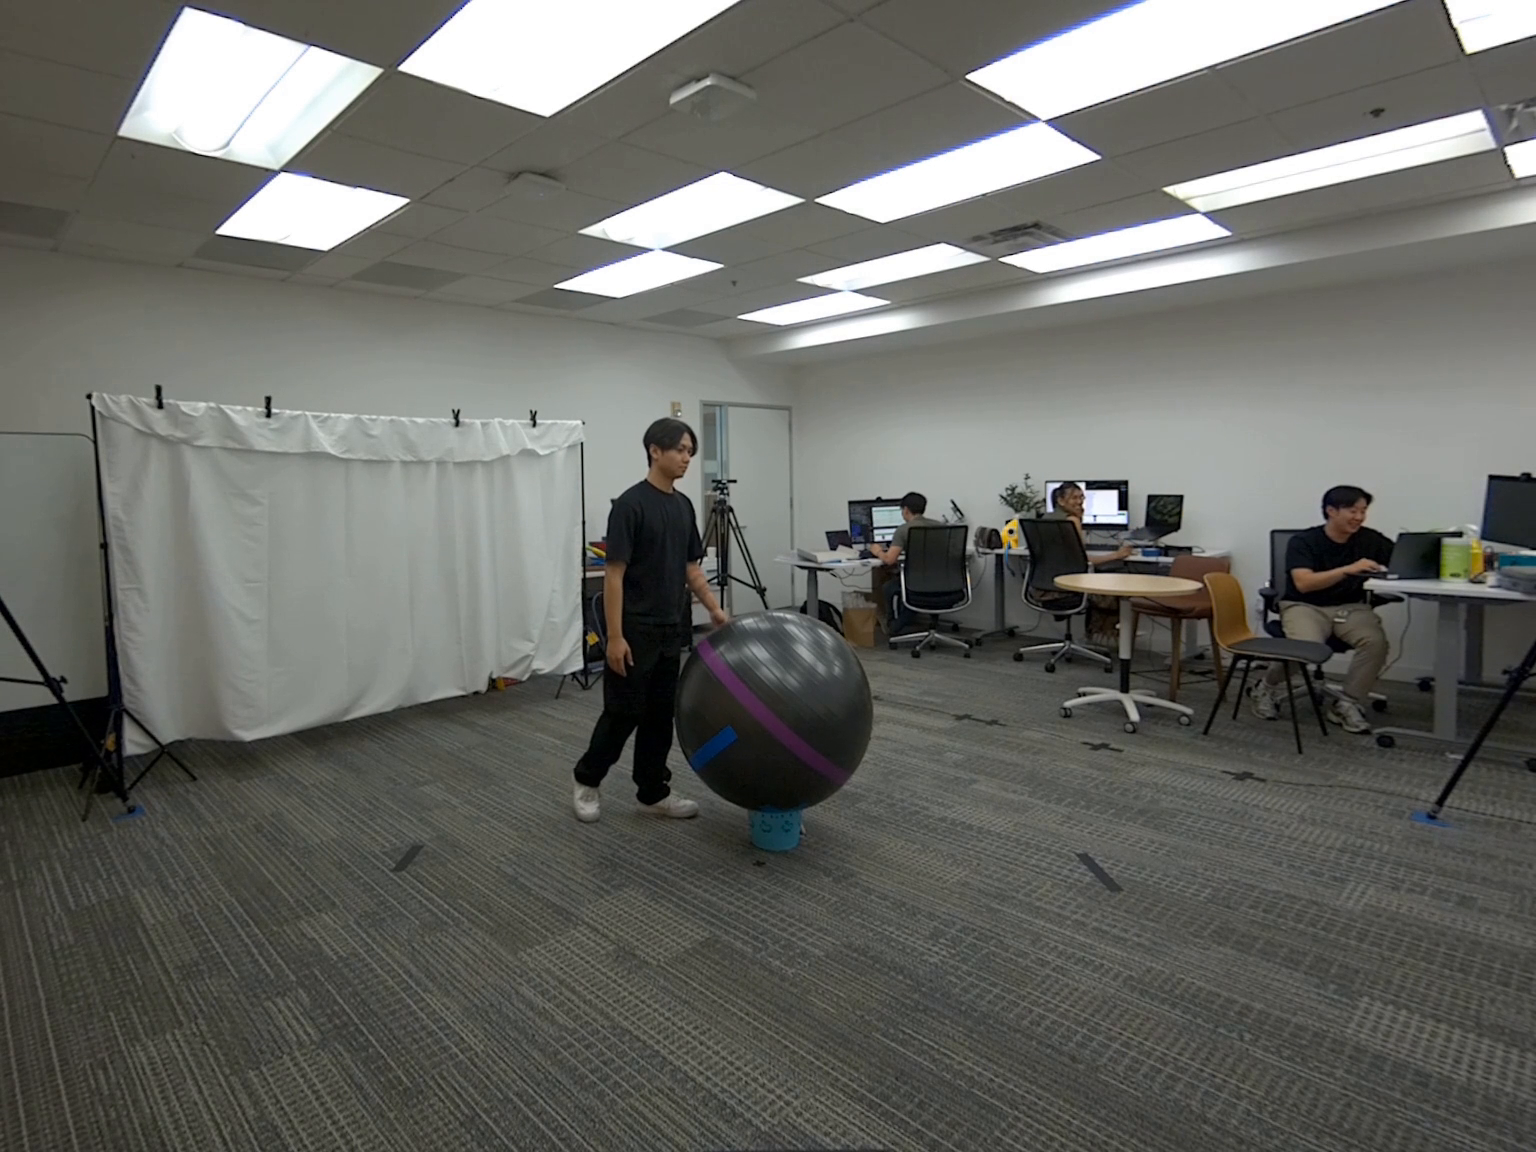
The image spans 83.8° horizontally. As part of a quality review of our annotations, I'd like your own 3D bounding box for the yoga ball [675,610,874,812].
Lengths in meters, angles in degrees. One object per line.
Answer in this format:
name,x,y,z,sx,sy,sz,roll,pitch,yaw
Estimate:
yoga ball,0.030,0.520,3.284,0.757,0.755,0.762,-1,5,-2
